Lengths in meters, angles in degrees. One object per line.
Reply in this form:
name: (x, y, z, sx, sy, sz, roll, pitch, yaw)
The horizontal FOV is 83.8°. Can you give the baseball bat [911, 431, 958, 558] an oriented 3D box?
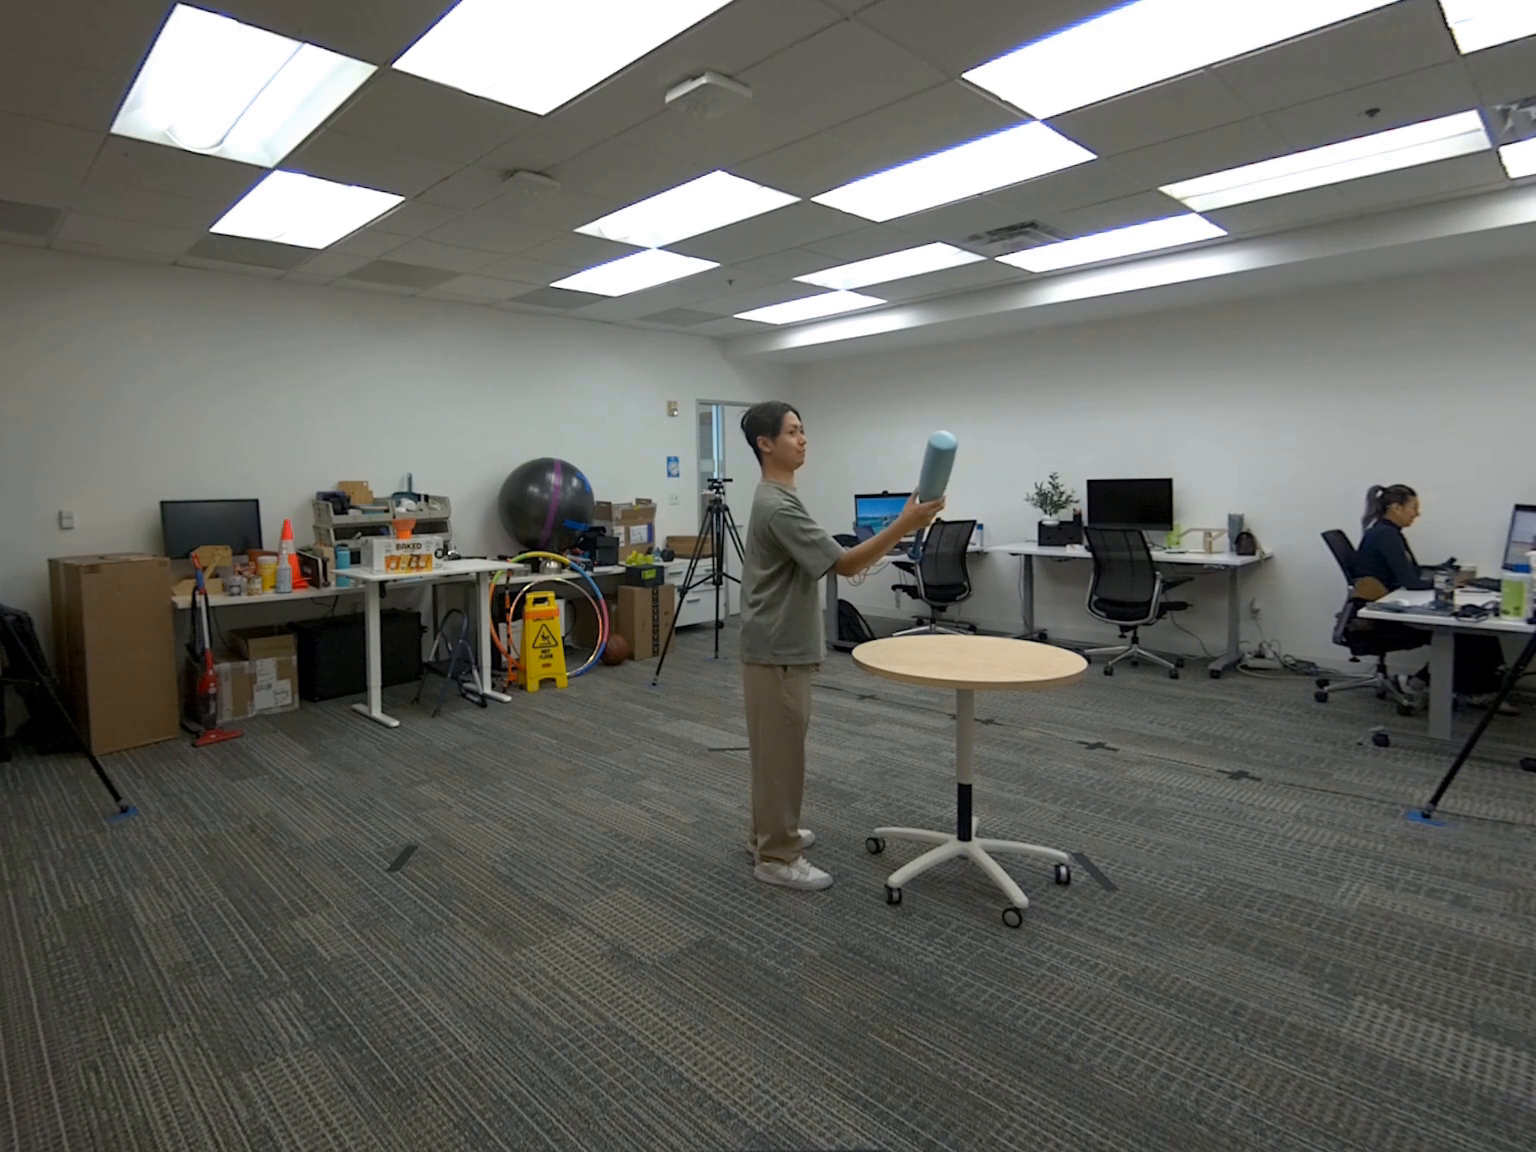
baseball bat: (0.509, -0.231, 2.690, 0.089, 0.091, 0.529, 1, -40, -3)
